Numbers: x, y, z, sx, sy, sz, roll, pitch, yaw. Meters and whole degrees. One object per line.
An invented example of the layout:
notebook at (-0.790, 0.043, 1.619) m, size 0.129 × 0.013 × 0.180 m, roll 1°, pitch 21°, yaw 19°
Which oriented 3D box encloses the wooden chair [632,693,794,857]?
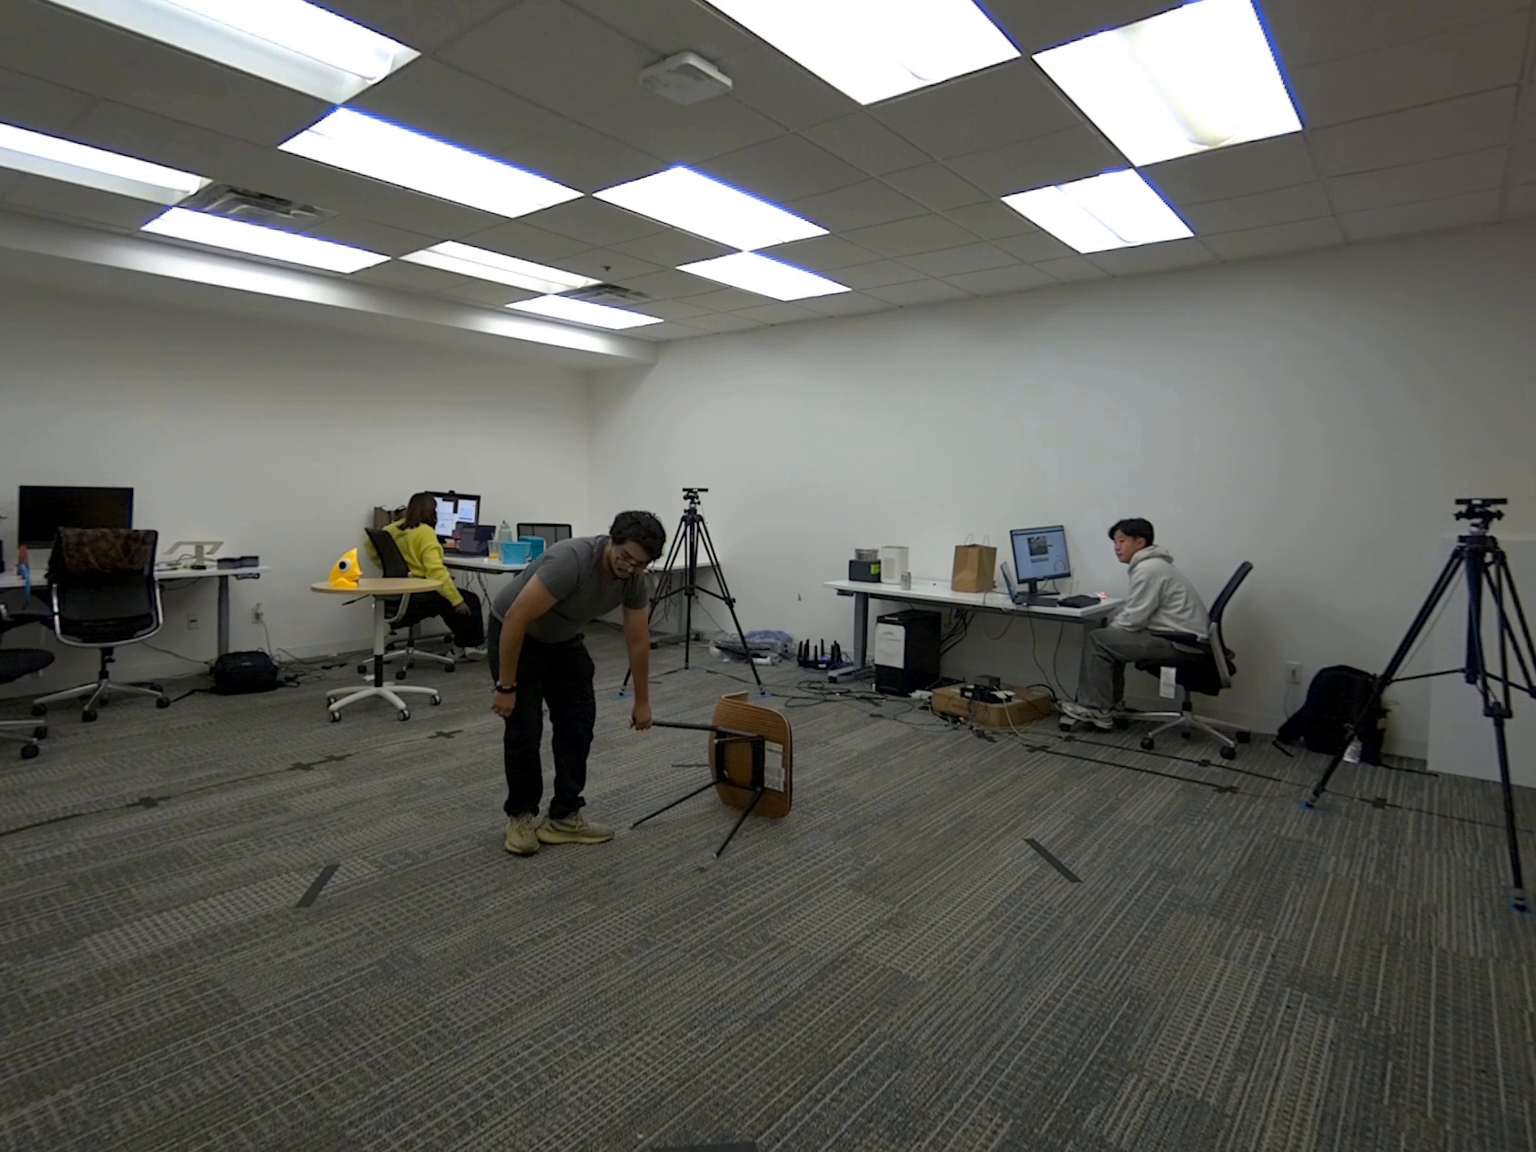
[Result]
wooden chair at (-0.135, 0.790, 3.647) m, size 0.539 × 0.476 × 0.855 m, roll 3°, pitch 6°, yaw 31°
